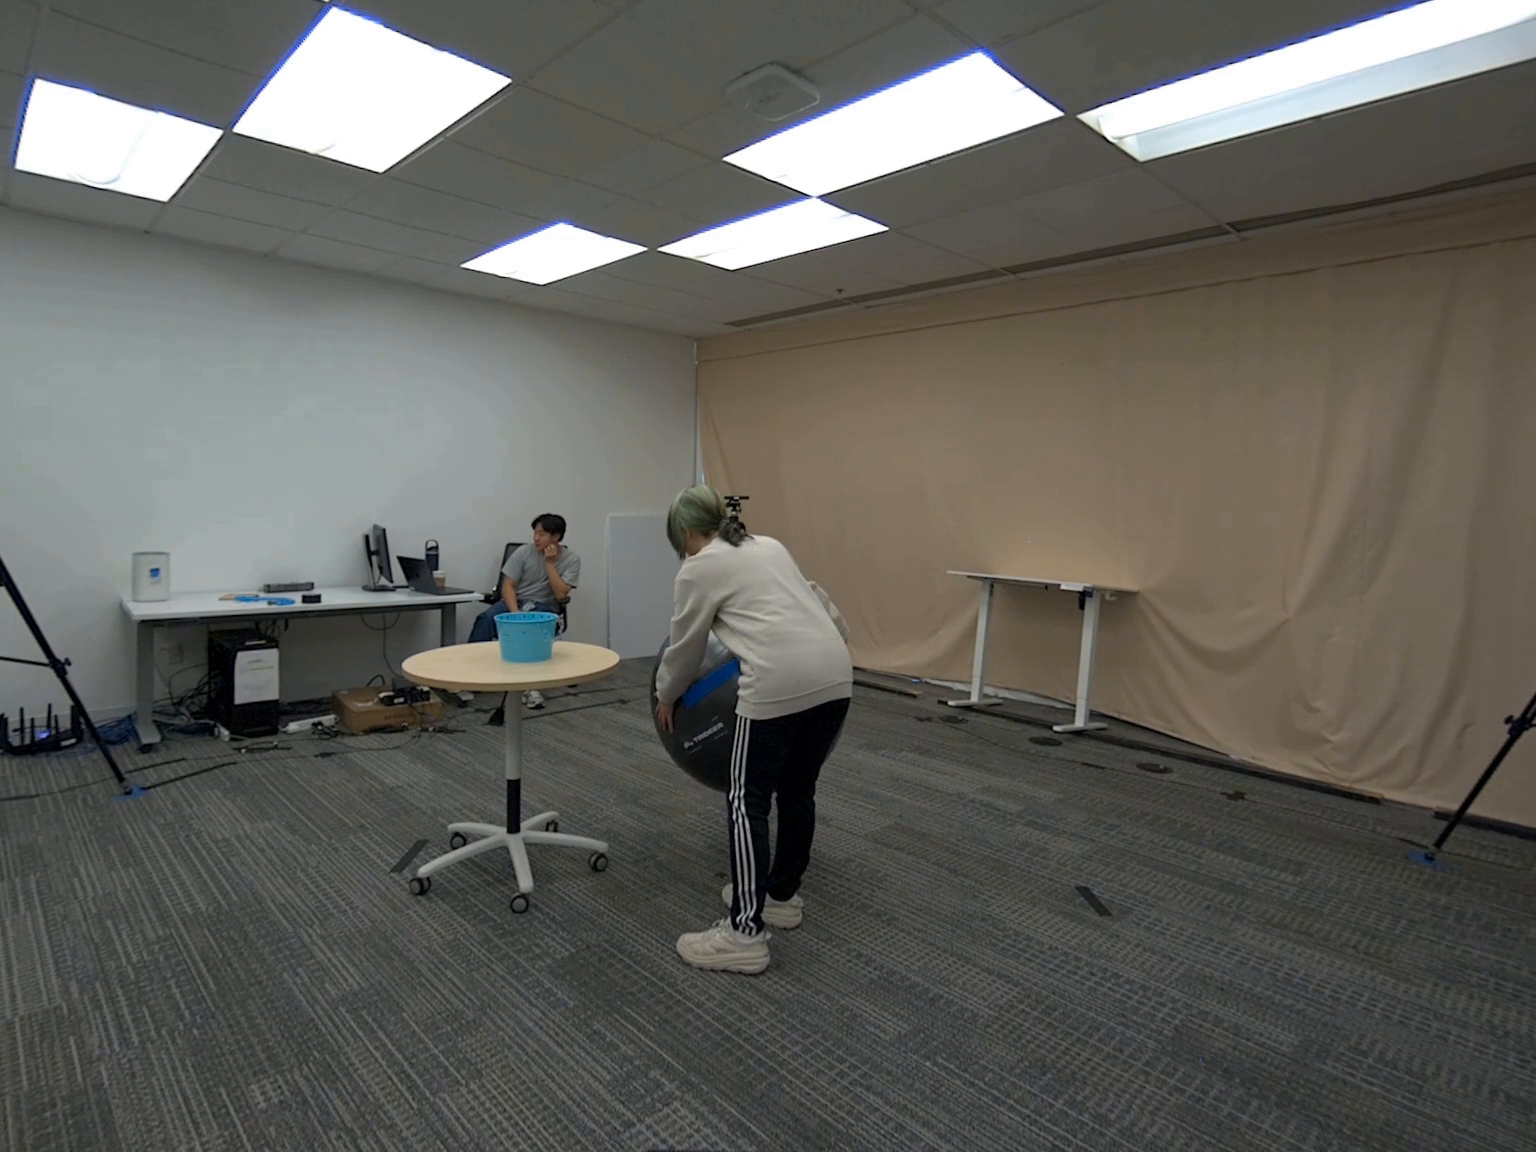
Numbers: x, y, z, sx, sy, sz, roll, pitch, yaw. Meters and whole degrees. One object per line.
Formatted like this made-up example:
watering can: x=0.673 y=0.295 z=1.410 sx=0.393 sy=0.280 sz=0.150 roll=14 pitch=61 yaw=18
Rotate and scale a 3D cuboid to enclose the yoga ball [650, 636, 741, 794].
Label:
yoga ball: x=-0.076 y=0.459 z=3.214 sx=0.757 sy=0.756 sz=0.761 roll=1 pitch=4 yaw=-1
